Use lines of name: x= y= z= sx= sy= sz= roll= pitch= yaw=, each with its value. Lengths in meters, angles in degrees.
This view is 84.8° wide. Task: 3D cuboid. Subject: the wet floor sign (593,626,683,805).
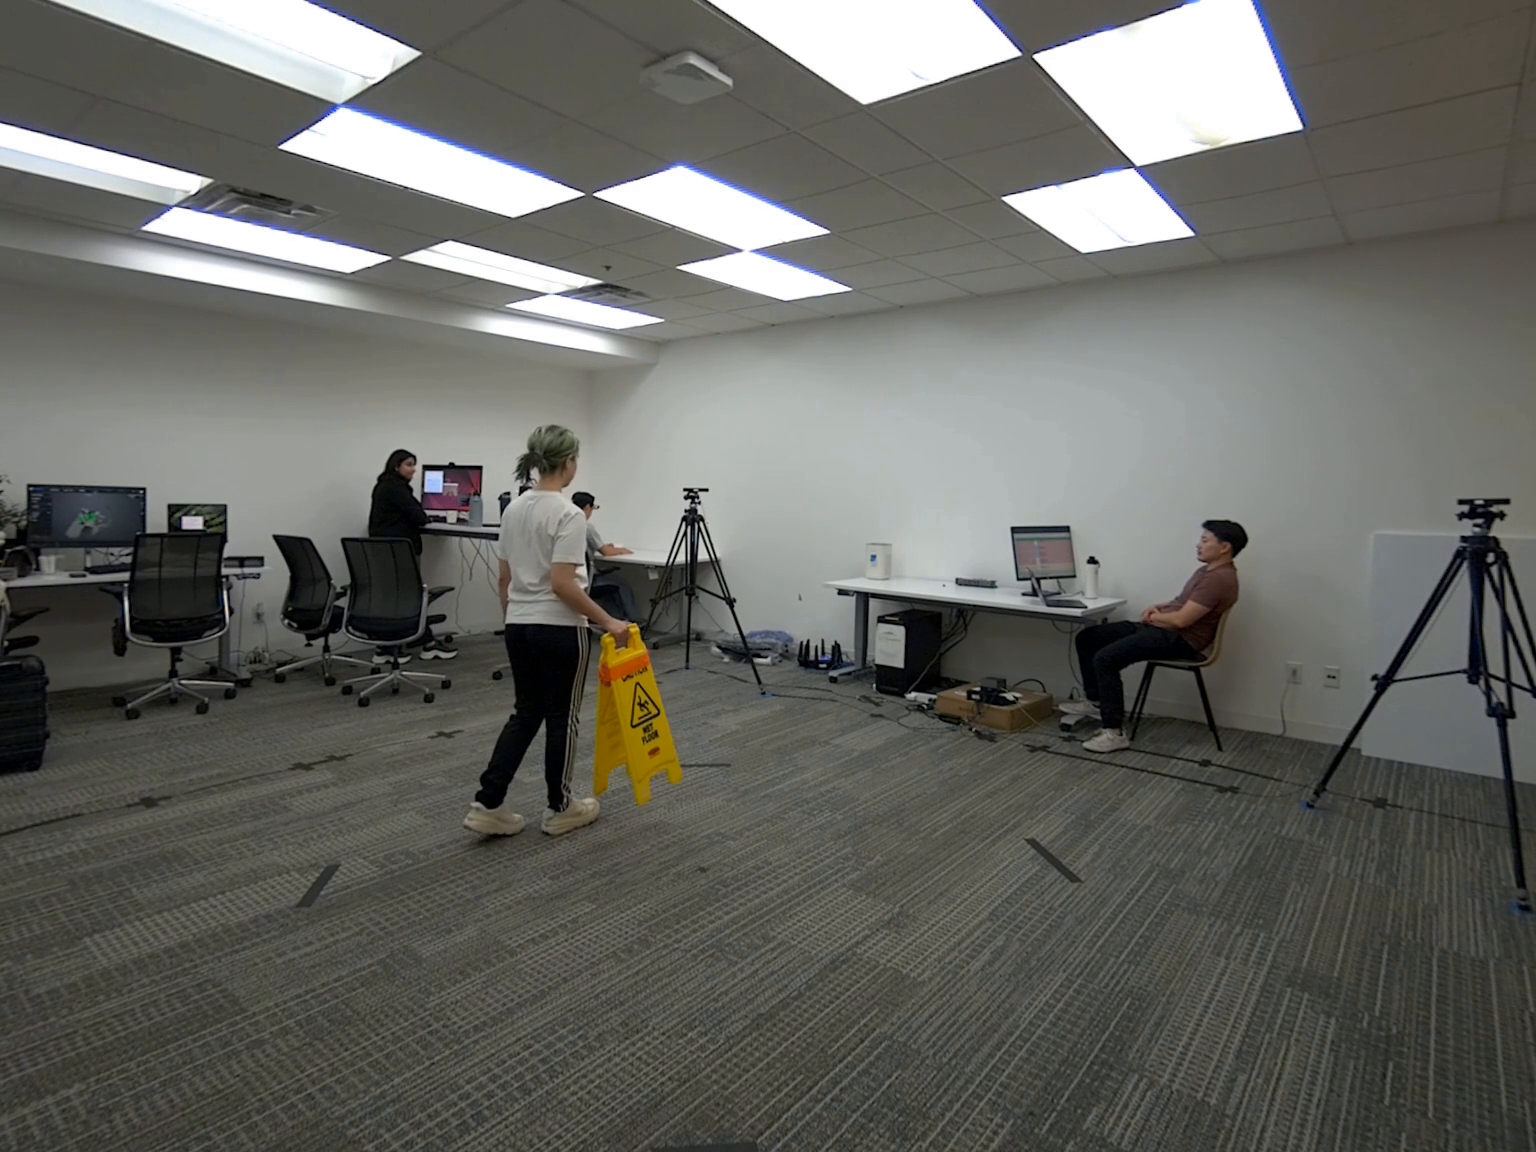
wet floor sign: x=-0.558 y=0.527 z=3.367 sx=0.298 sy=0.640 sz=0.276 roll=1 pitch=10 yaw=33
